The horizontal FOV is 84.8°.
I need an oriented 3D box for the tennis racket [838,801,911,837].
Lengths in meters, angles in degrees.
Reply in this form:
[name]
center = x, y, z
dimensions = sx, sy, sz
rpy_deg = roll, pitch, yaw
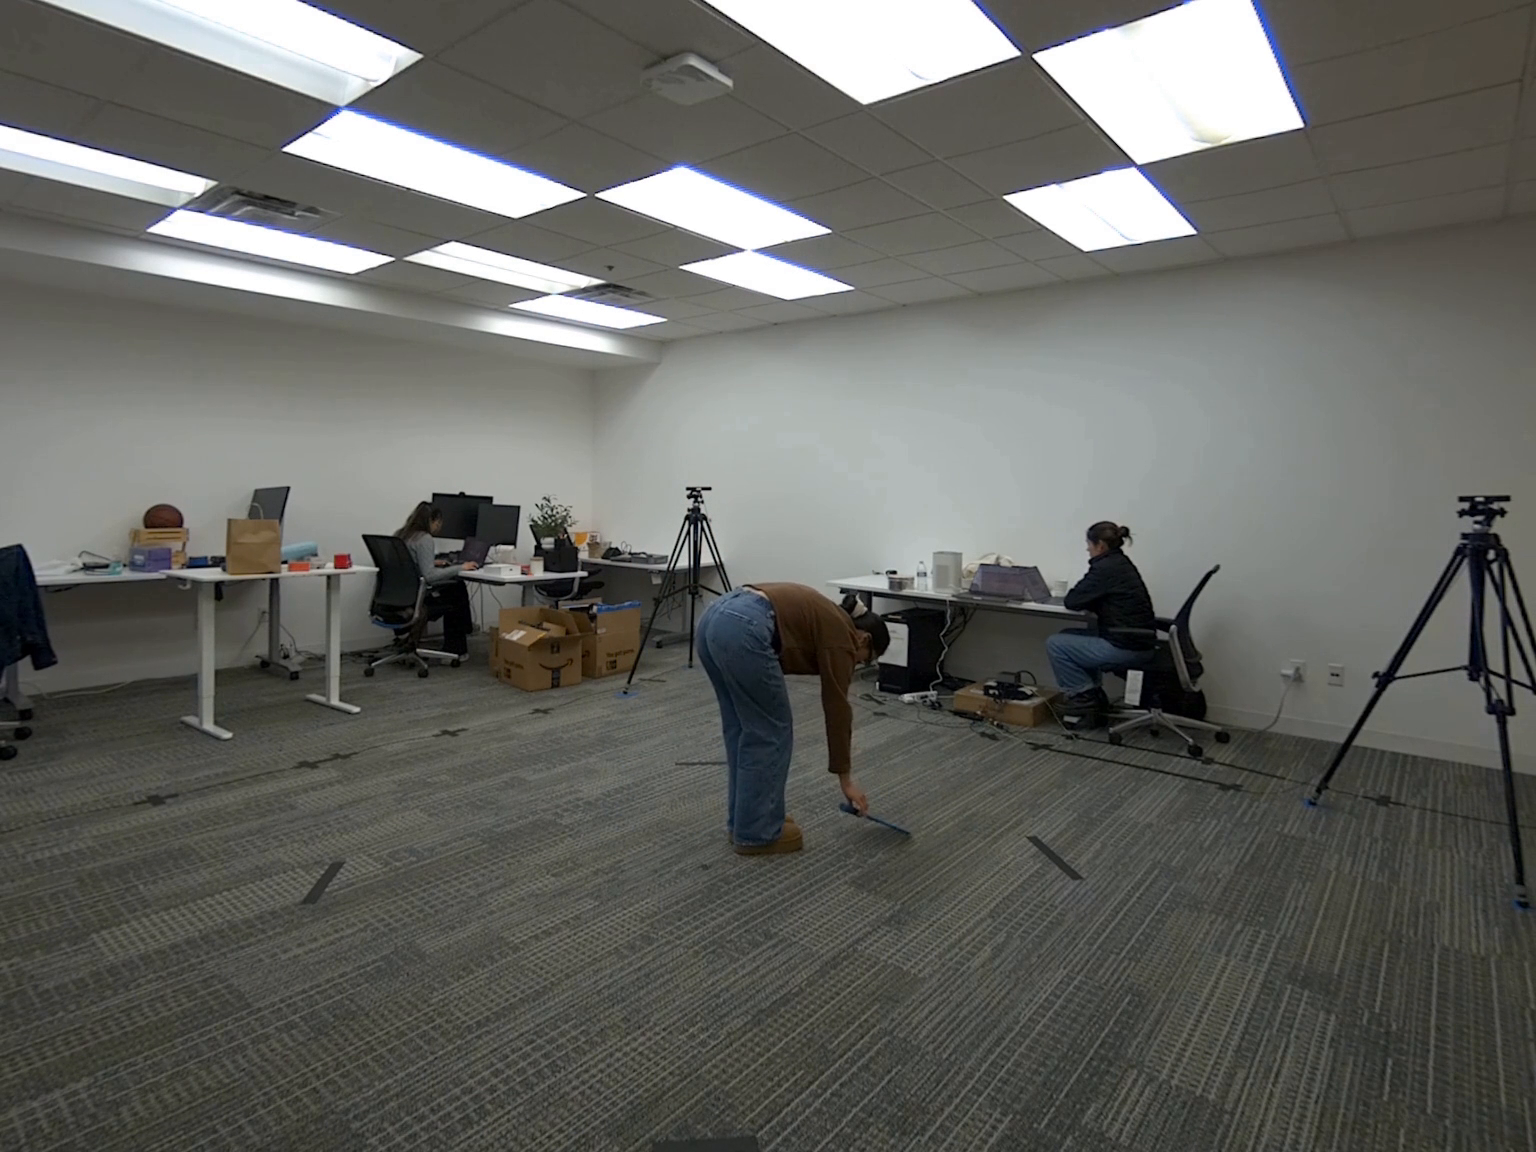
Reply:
[tennis racket]
center = 0.405, 0.960, 3.367
dimensions = 0.221, 0.032, 0.415
rpy_deg = 7, -18, 48
